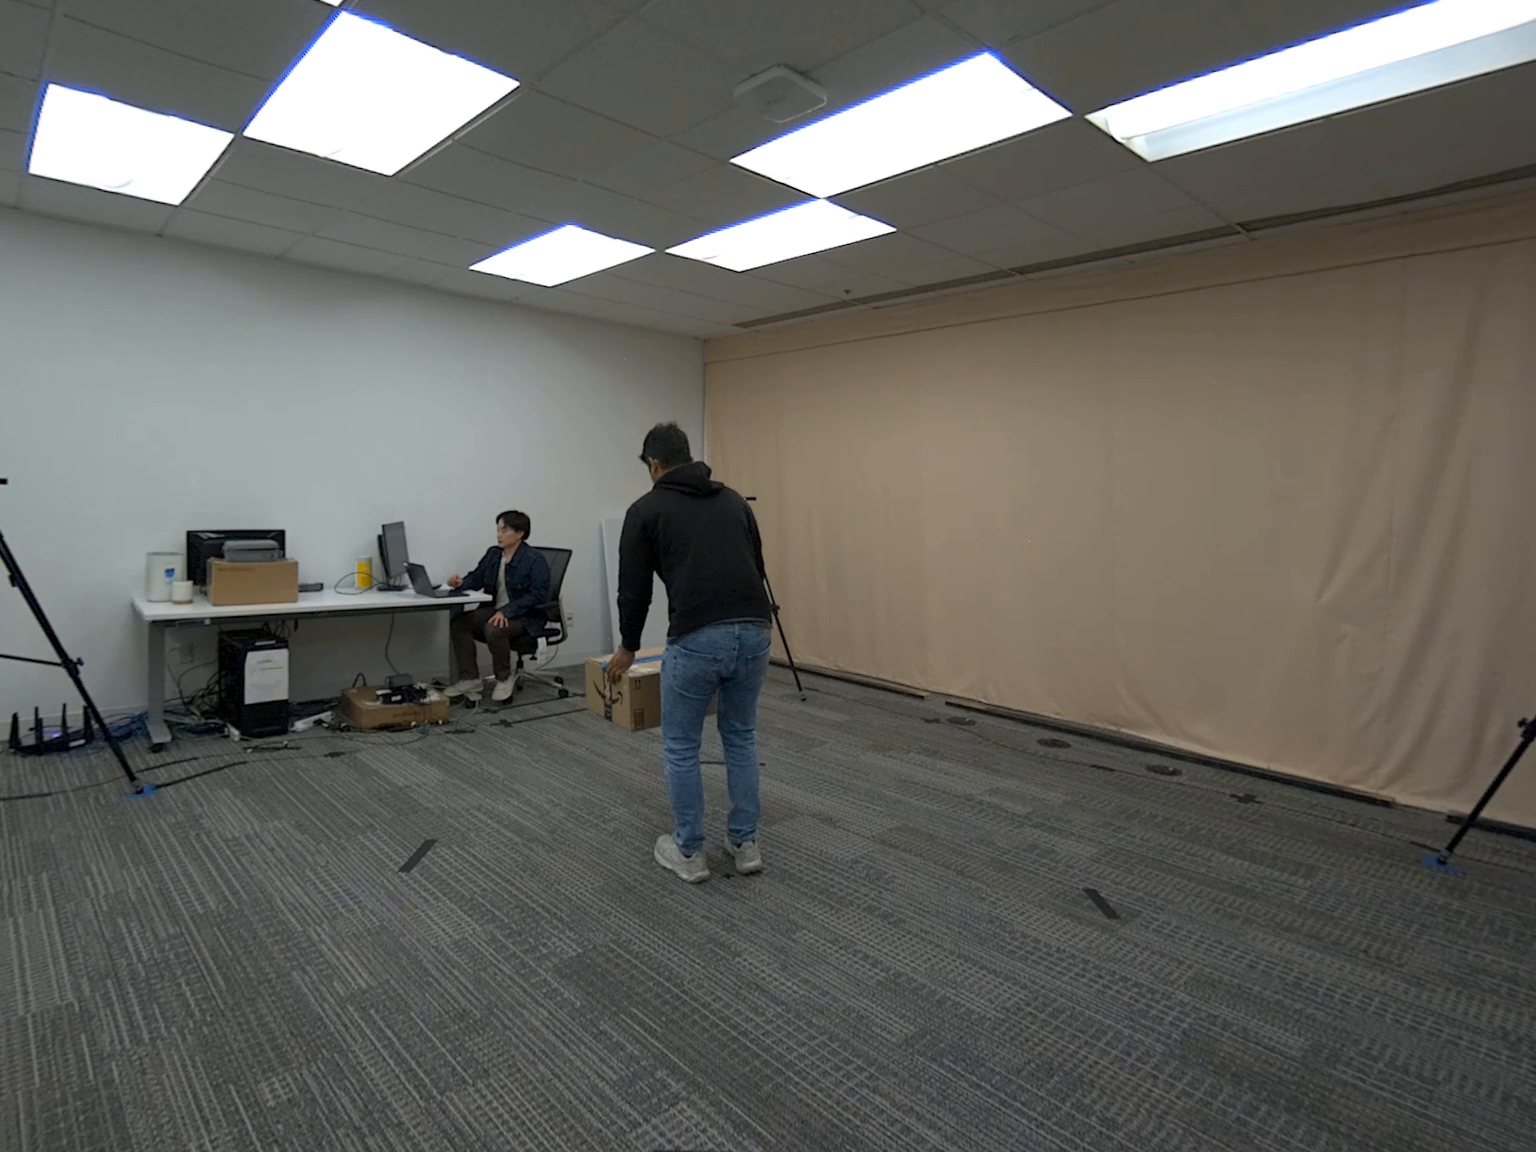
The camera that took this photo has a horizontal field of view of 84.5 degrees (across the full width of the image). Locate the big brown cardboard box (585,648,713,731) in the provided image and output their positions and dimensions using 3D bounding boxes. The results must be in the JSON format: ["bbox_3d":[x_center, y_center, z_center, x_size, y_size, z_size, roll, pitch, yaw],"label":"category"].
[{"bbox_3d":[-0.416,0.449,3.464,0.577,0.232,0.428,-5,7,-35],"label":"big brown cardboard box"}]
